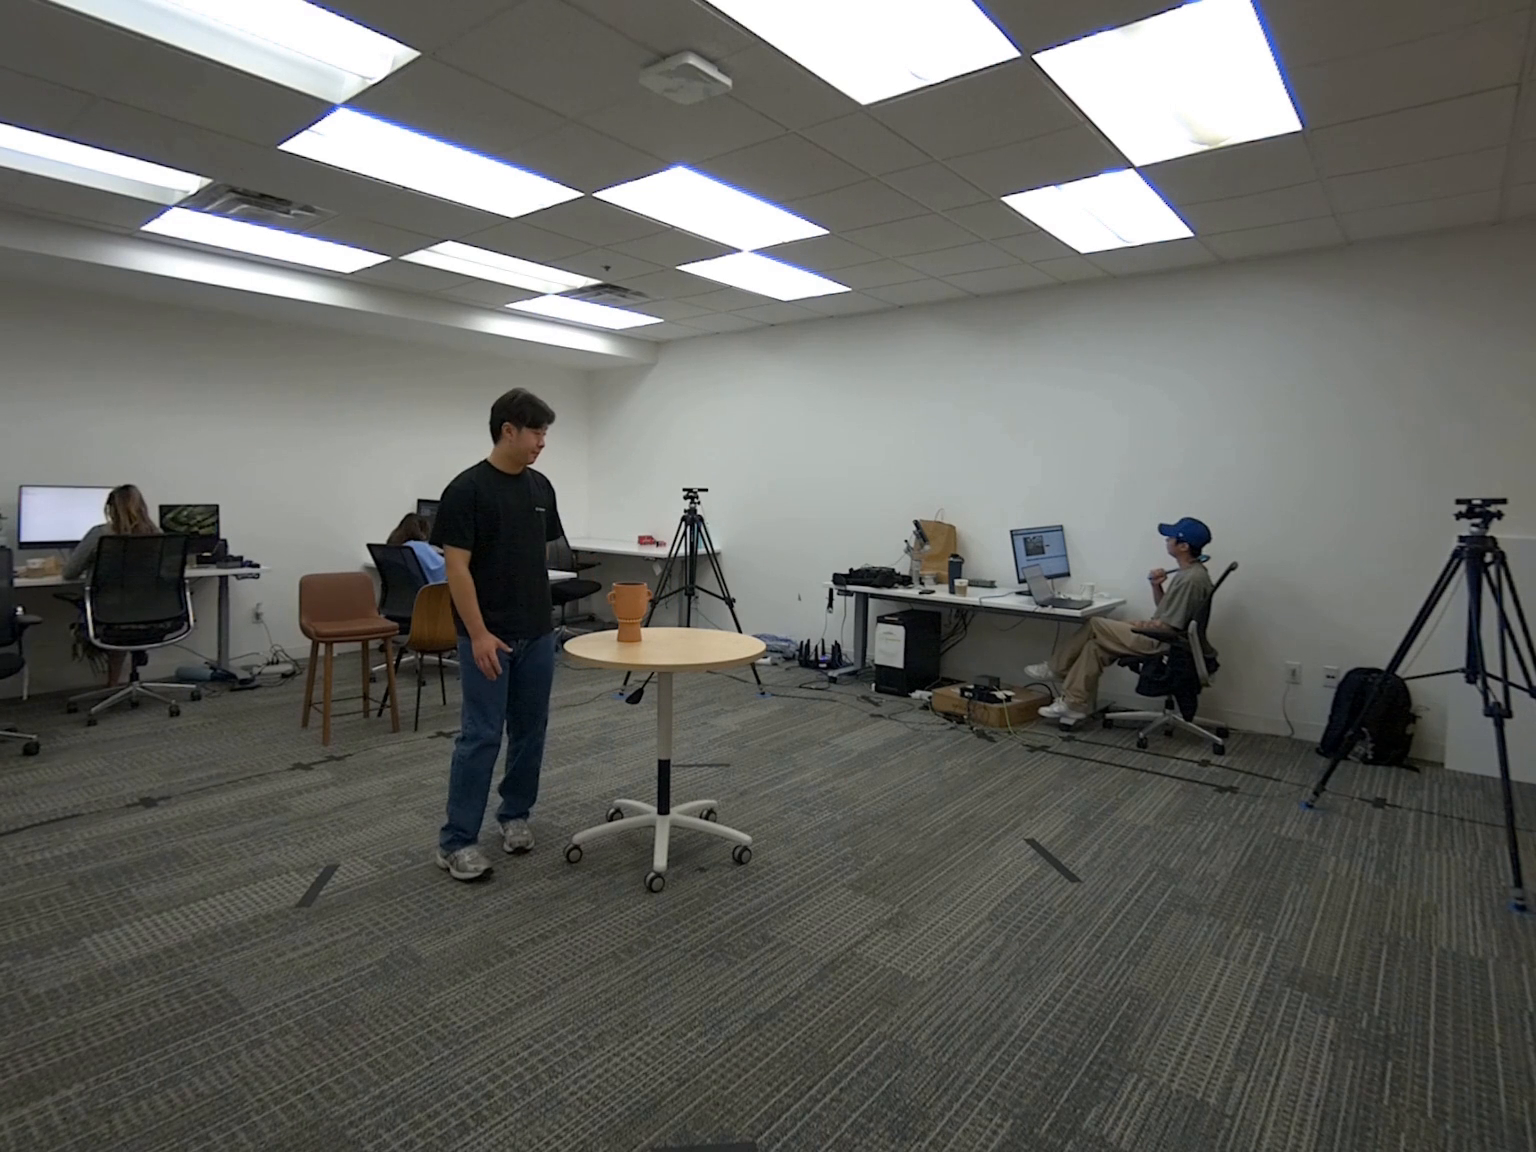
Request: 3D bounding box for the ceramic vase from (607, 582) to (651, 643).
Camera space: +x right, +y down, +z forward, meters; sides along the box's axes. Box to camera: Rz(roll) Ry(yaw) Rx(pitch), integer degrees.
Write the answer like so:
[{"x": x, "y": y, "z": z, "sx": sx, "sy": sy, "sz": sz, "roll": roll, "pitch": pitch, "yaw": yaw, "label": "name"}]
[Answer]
[{"x": -0.559, "y": 0.142, "z": 3.305, "sx": 0.159, "sy": 0.219, "sz": 0.134, "roll": 2, "pitch": 5, "yaw": 3, "label": "ceramic vase"}]
